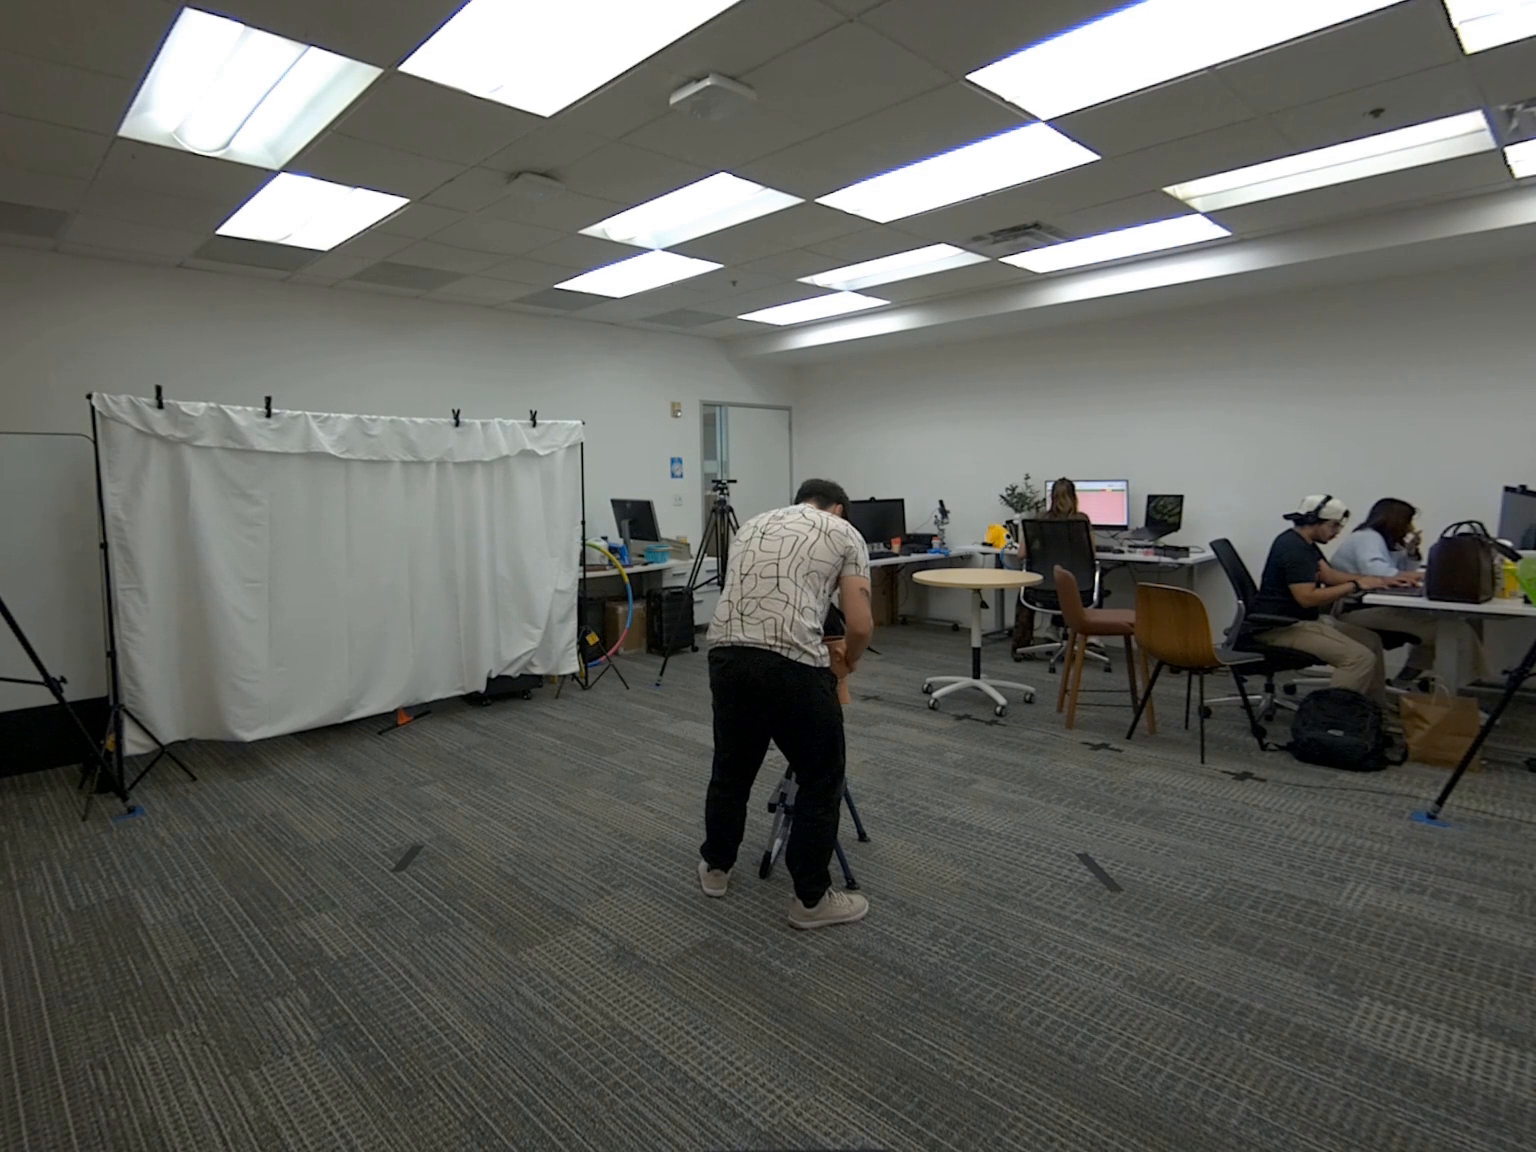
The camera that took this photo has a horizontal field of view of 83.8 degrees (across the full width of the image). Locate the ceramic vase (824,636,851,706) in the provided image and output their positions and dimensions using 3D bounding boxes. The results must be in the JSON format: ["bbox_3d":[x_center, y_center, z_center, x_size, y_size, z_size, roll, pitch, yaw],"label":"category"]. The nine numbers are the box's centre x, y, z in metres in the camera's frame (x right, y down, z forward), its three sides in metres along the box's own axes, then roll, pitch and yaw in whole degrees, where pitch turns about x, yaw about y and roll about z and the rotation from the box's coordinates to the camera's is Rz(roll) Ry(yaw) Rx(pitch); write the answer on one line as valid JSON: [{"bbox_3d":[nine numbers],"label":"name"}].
[{"bbox_3d":[0.217,0.328,2.941,0.137,0.220,0.156,-8,1,23],"label":"ceramic vase"}]
